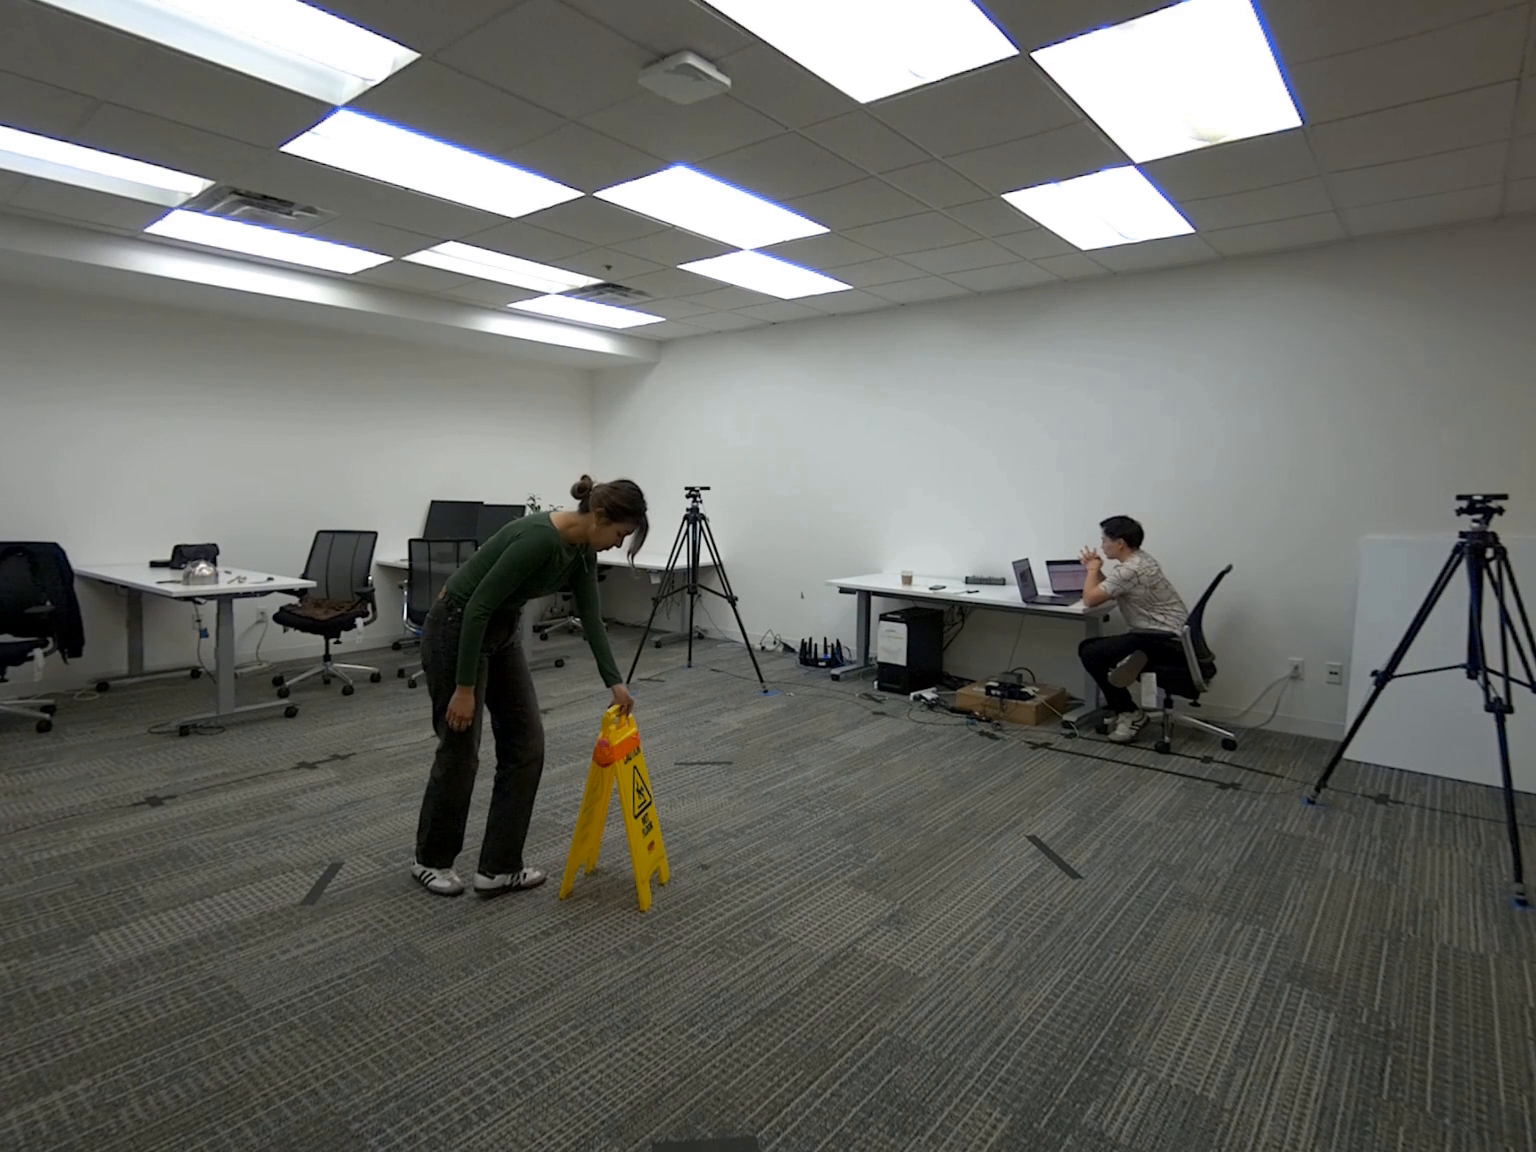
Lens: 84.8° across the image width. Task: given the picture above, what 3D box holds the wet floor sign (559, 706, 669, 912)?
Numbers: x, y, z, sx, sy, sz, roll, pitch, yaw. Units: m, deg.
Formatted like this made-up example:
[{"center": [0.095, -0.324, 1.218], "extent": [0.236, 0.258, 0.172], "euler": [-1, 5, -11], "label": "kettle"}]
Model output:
[{"center": [-0.526, 0.758, 2.923], "extent": [0.294, 0.644, 0.278], "euler": [2, 4, 14], "label": "wet floor sign"}]
